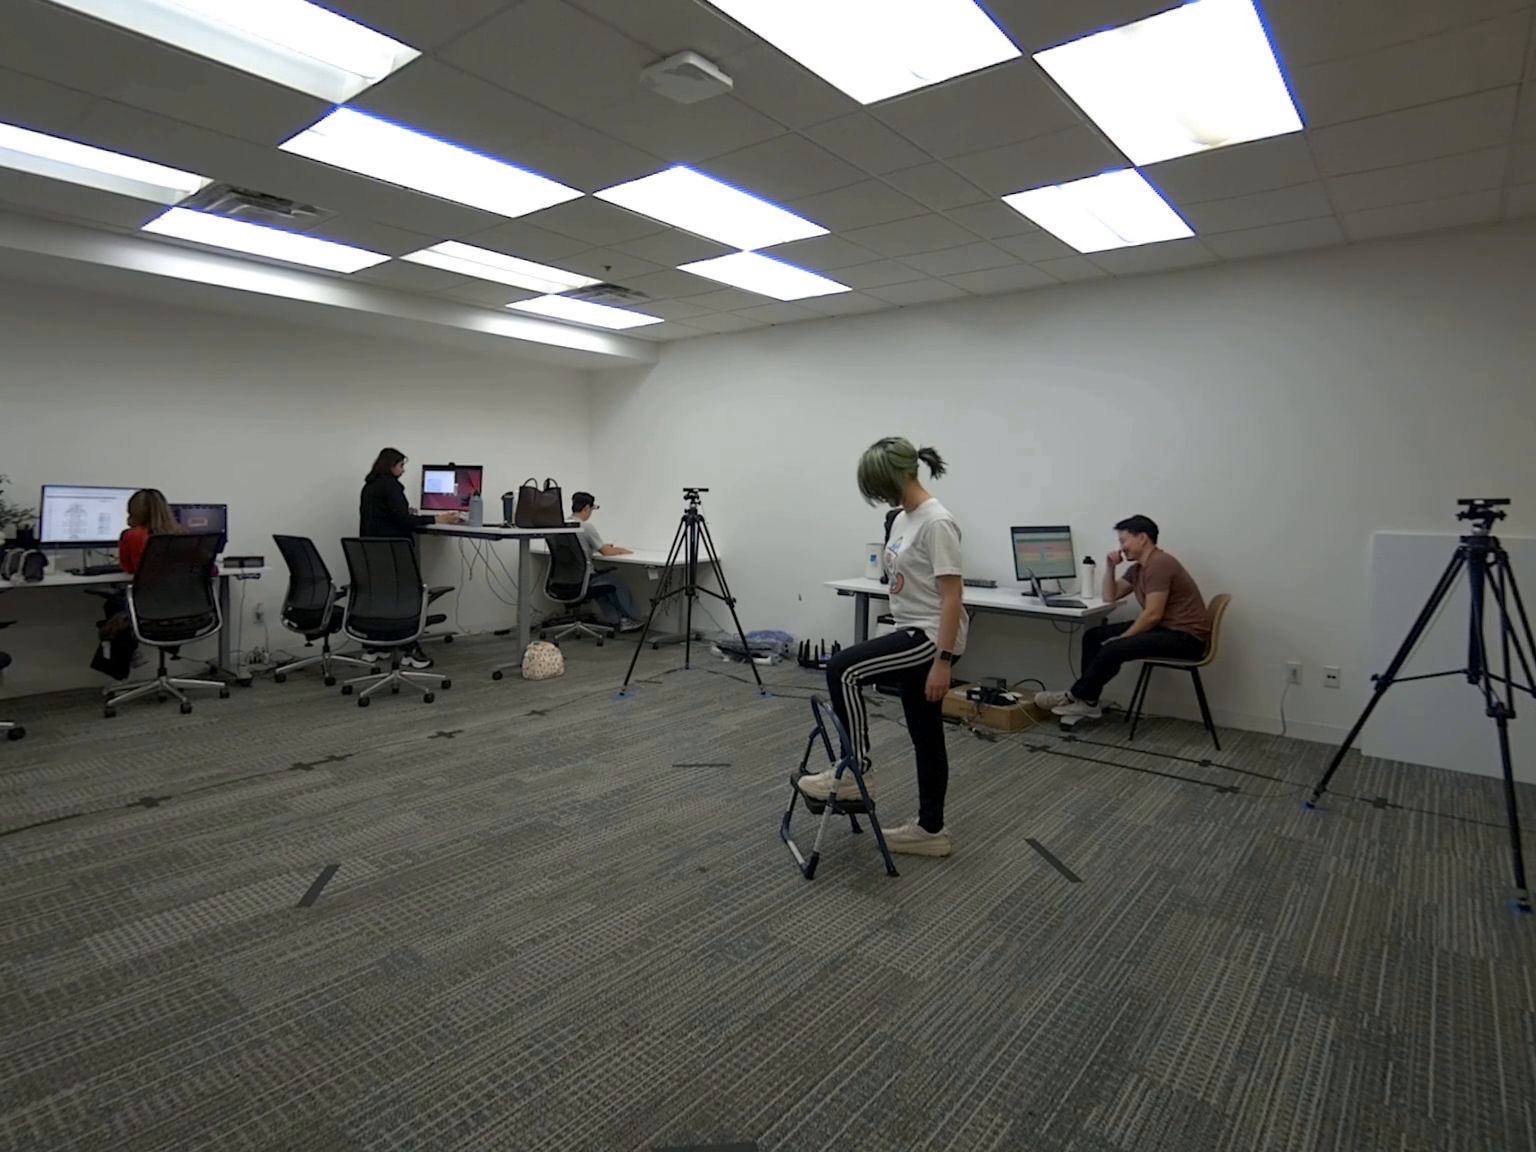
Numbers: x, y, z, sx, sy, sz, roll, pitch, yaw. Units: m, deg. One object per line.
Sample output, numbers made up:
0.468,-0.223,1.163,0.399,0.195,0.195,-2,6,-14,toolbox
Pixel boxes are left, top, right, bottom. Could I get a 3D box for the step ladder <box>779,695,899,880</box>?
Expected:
0.259,0.771,3.258,0.345,0.604,0.437,1,3,-12,step ladder
